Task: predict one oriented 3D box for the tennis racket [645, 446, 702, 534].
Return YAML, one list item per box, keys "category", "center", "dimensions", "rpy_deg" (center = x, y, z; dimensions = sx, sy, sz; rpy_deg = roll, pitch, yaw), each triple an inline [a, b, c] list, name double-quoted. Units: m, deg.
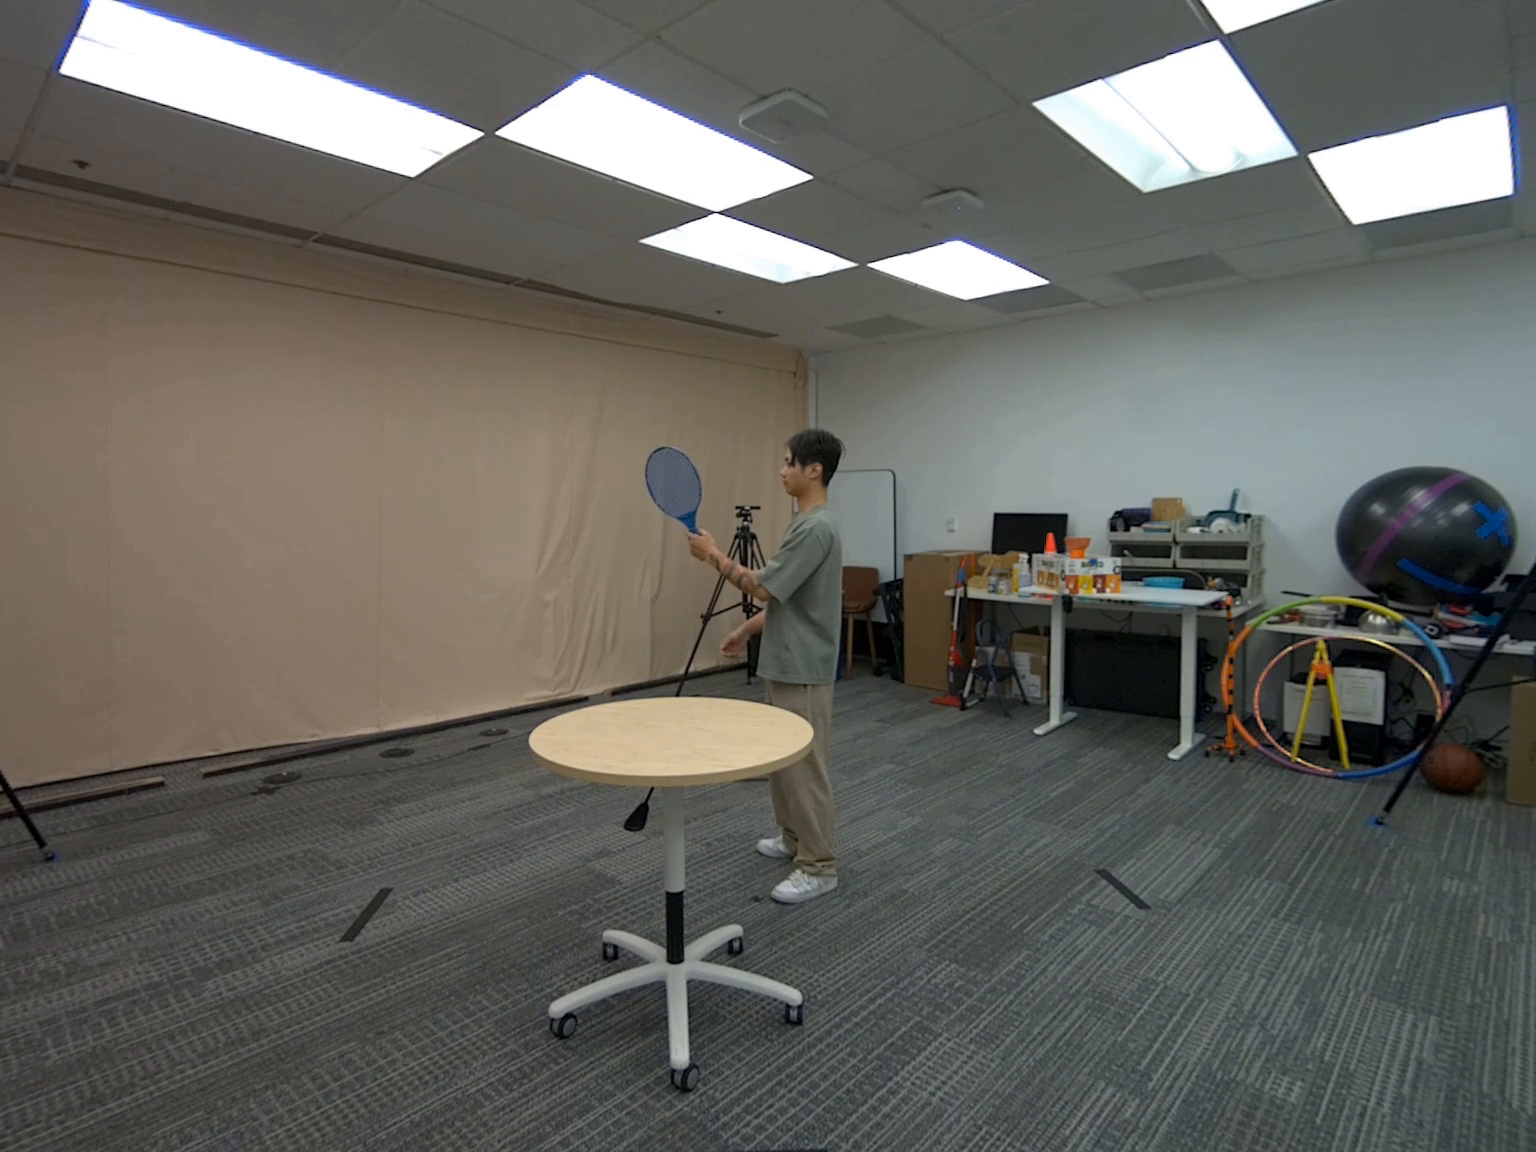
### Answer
- category: "tennis racket"
  center: [-0.304, -0.256, 3.016]
  dimensions: [0.218, 0.431, 0.031]
  rpy_deg: [-19, 4, 26]
